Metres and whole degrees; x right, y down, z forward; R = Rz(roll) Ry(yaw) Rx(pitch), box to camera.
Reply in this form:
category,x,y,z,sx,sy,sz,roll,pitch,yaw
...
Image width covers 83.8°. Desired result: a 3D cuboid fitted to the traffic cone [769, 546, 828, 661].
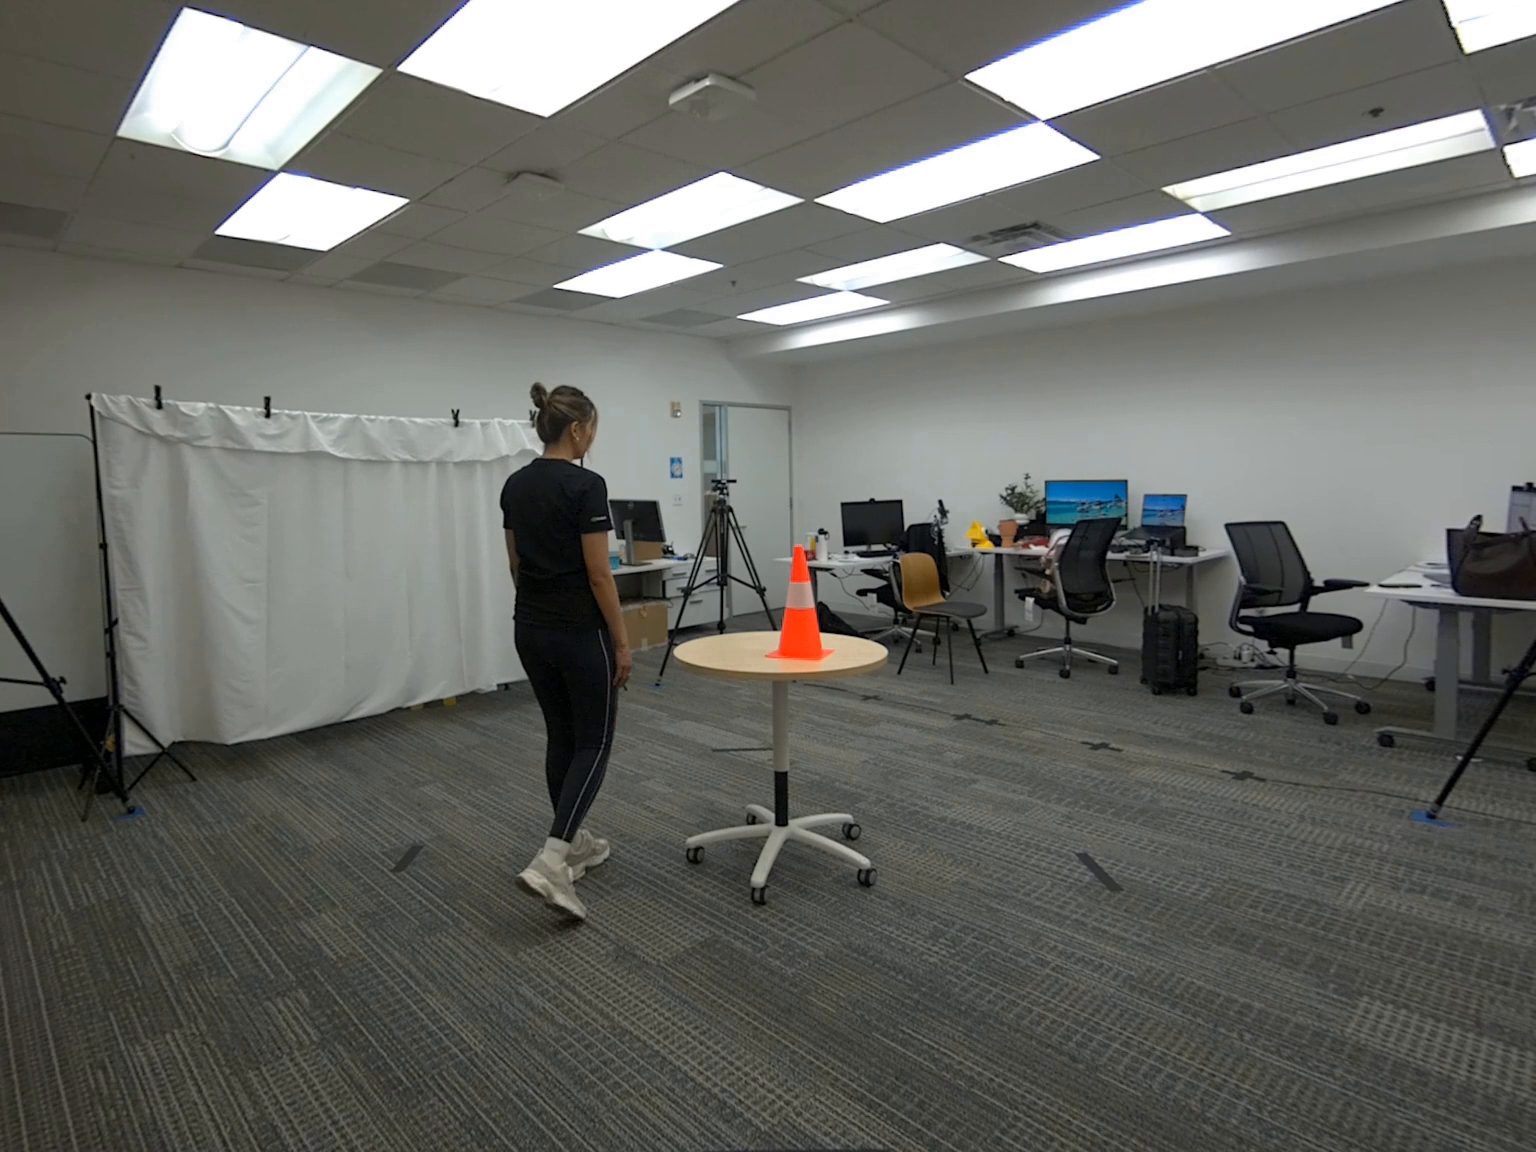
category,x,y,z,sx,sy,sz,roll,pitch,yaw
traffic cone,0.106,0.085,2.988,0.210,0.383,0.199,0,3,28
